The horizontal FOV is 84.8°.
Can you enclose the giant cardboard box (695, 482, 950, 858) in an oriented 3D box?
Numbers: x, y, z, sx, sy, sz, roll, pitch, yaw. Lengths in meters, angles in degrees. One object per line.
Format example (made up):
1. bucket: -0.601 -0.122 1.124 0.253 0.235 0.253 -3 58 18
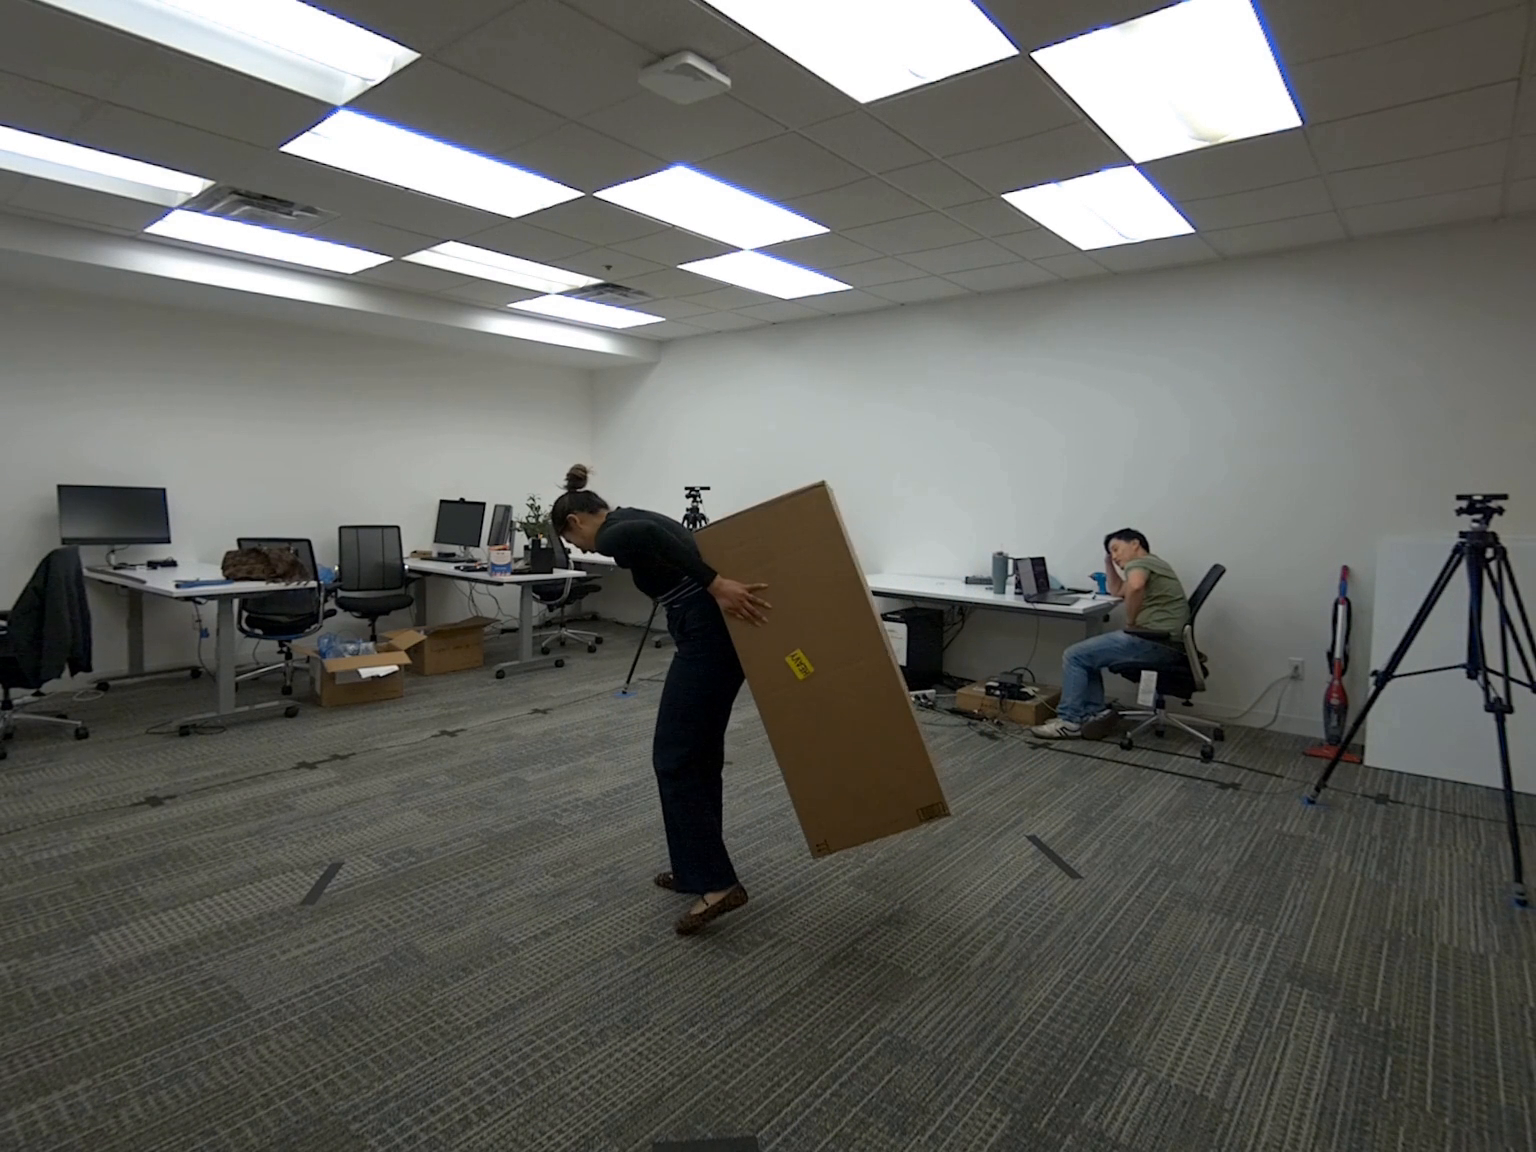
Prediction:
1. giant cardboard box: 0.172 0.261 2.740 0.428 1.030 0.572 -20 -2 8
